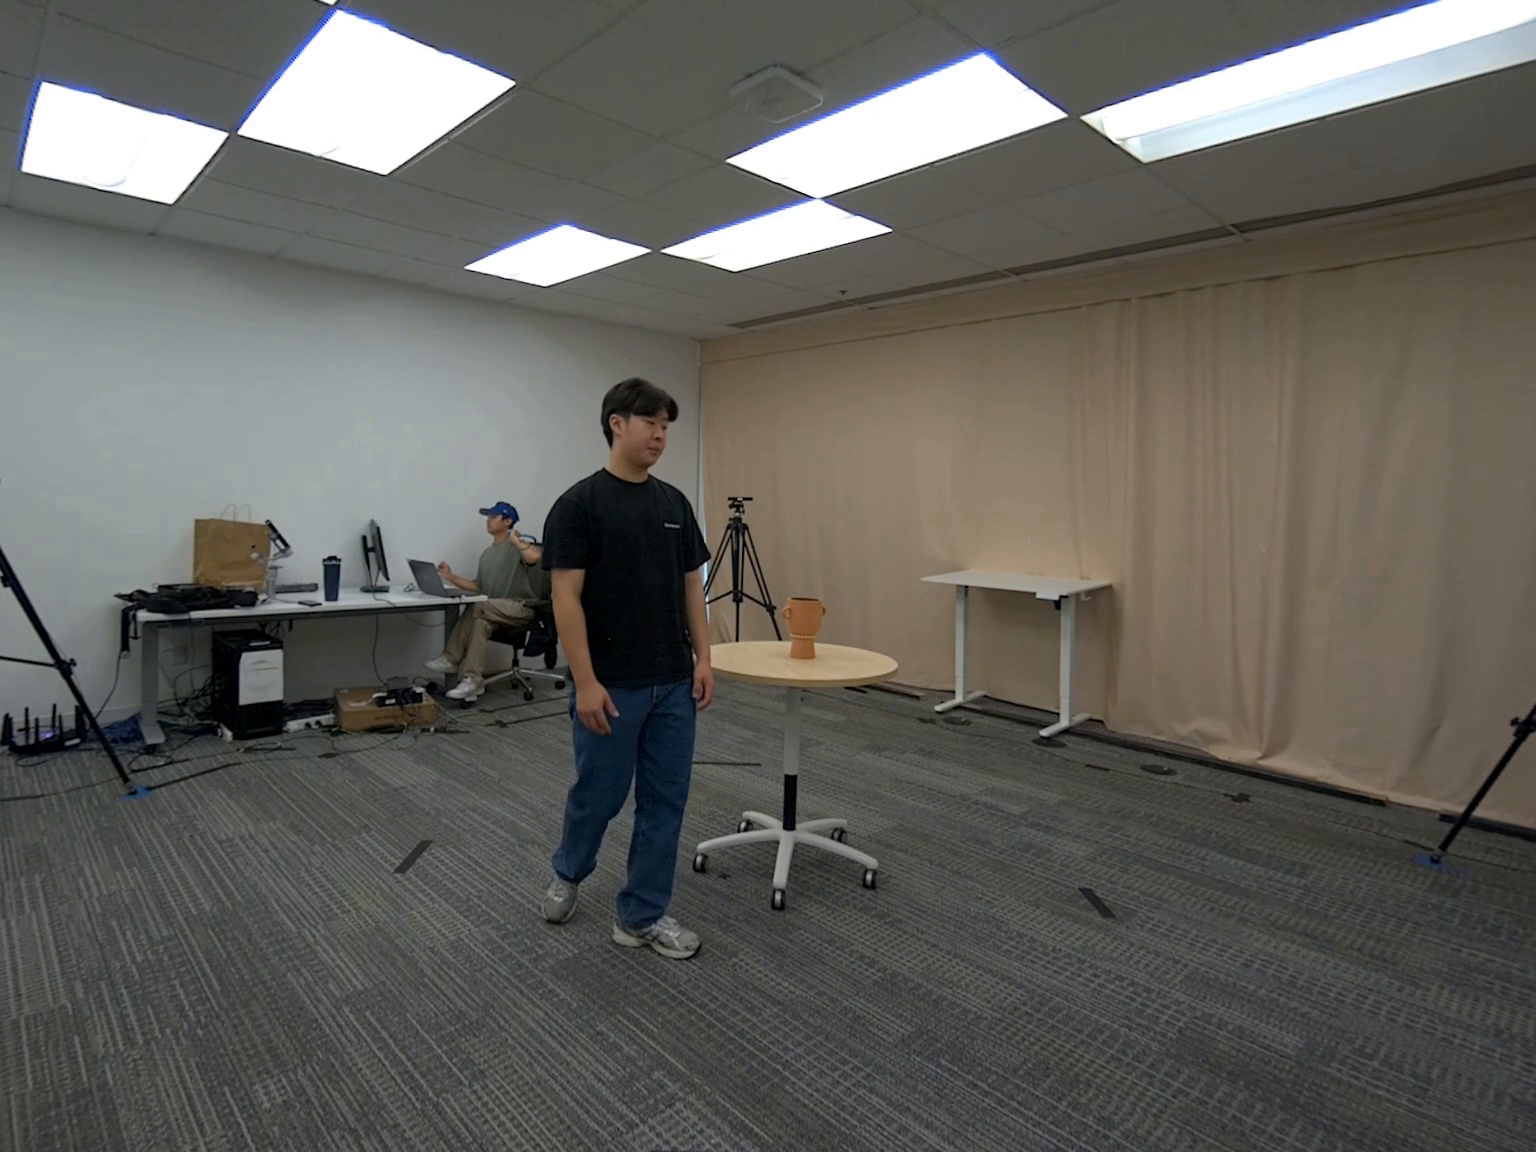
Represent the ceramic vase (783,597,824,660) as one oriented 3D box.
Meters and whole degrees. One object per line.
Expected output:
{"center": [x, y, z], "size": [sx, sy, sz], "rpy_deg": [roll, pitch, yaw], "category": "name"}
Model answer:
{"center": [0.132, 0.202, 3.205], "size": [0.160, 0.219, 0.133], "rpy_deg": [3, 2, 11], "category": "ceramic vase"}
